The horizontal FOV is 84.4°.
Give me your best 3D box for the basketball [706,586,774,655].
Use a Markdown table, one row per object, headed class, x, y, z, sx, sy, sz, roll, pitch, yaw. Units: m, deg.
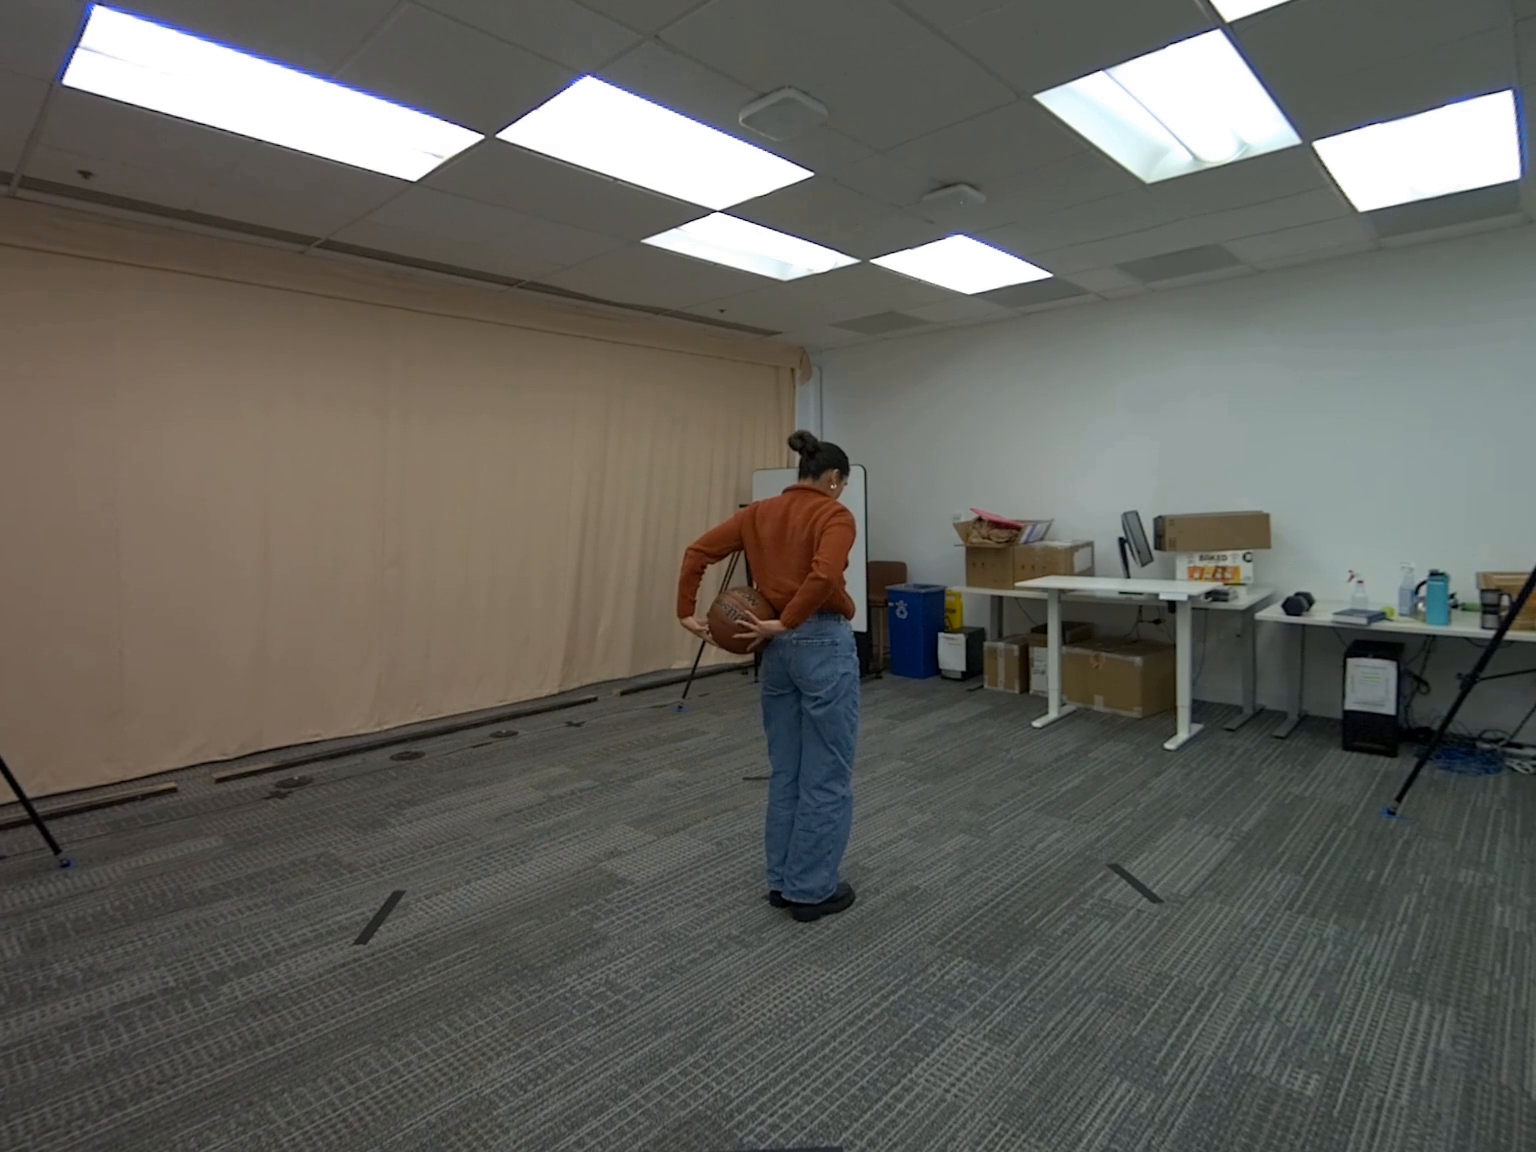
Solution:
| class | x | y | z | sx | sy | sz | roll | pitch | yaw |
| --- | --- | --- | --- | --- | --- | --- | --- | --- | --- |
| basketball | -0.084 | 0.147 | 2.918 | 0.236 | 0.235 | 0.237 | -1 | 4 | -2 |
